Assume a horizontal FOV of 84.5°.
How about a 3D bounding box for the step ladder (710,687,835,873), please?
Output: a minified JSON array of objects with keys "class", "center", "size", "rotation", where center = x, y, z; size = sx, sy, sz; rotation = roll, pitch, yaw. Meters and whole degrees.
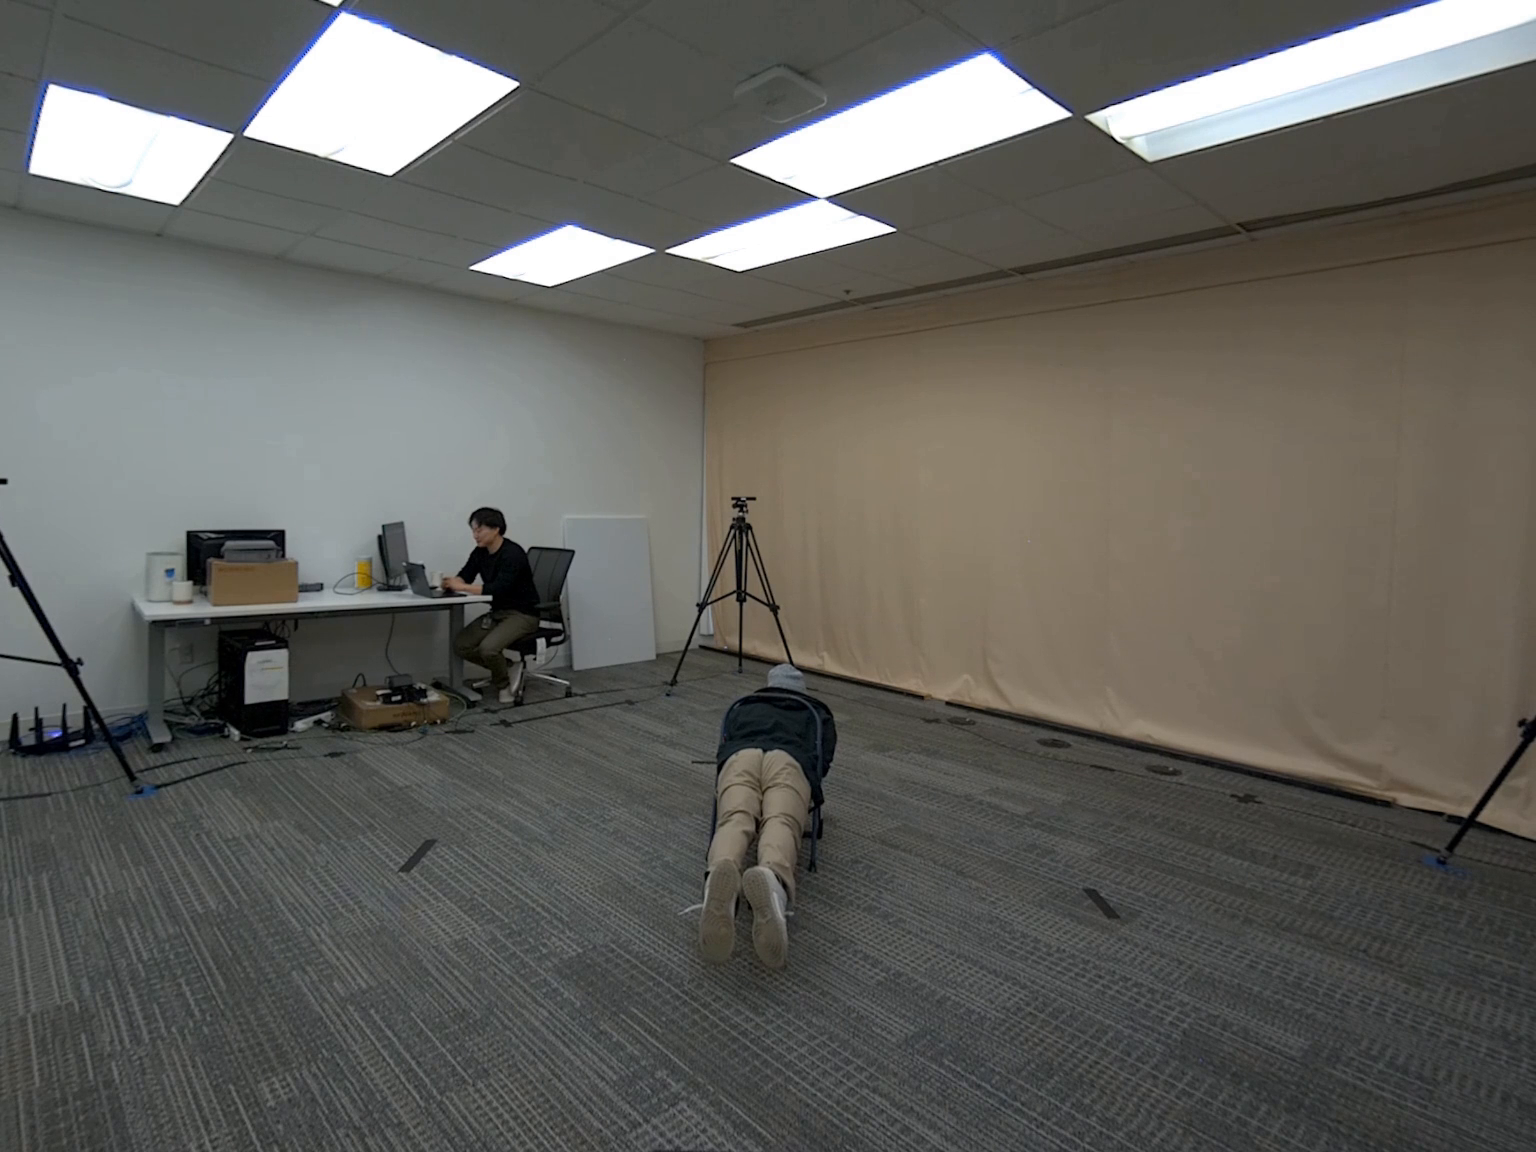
[{"class":"step ladder","center":[-0.005,0.790,3.352],"size":[0.434,0.605,0.347],"rotation":[2,2,9]}]
